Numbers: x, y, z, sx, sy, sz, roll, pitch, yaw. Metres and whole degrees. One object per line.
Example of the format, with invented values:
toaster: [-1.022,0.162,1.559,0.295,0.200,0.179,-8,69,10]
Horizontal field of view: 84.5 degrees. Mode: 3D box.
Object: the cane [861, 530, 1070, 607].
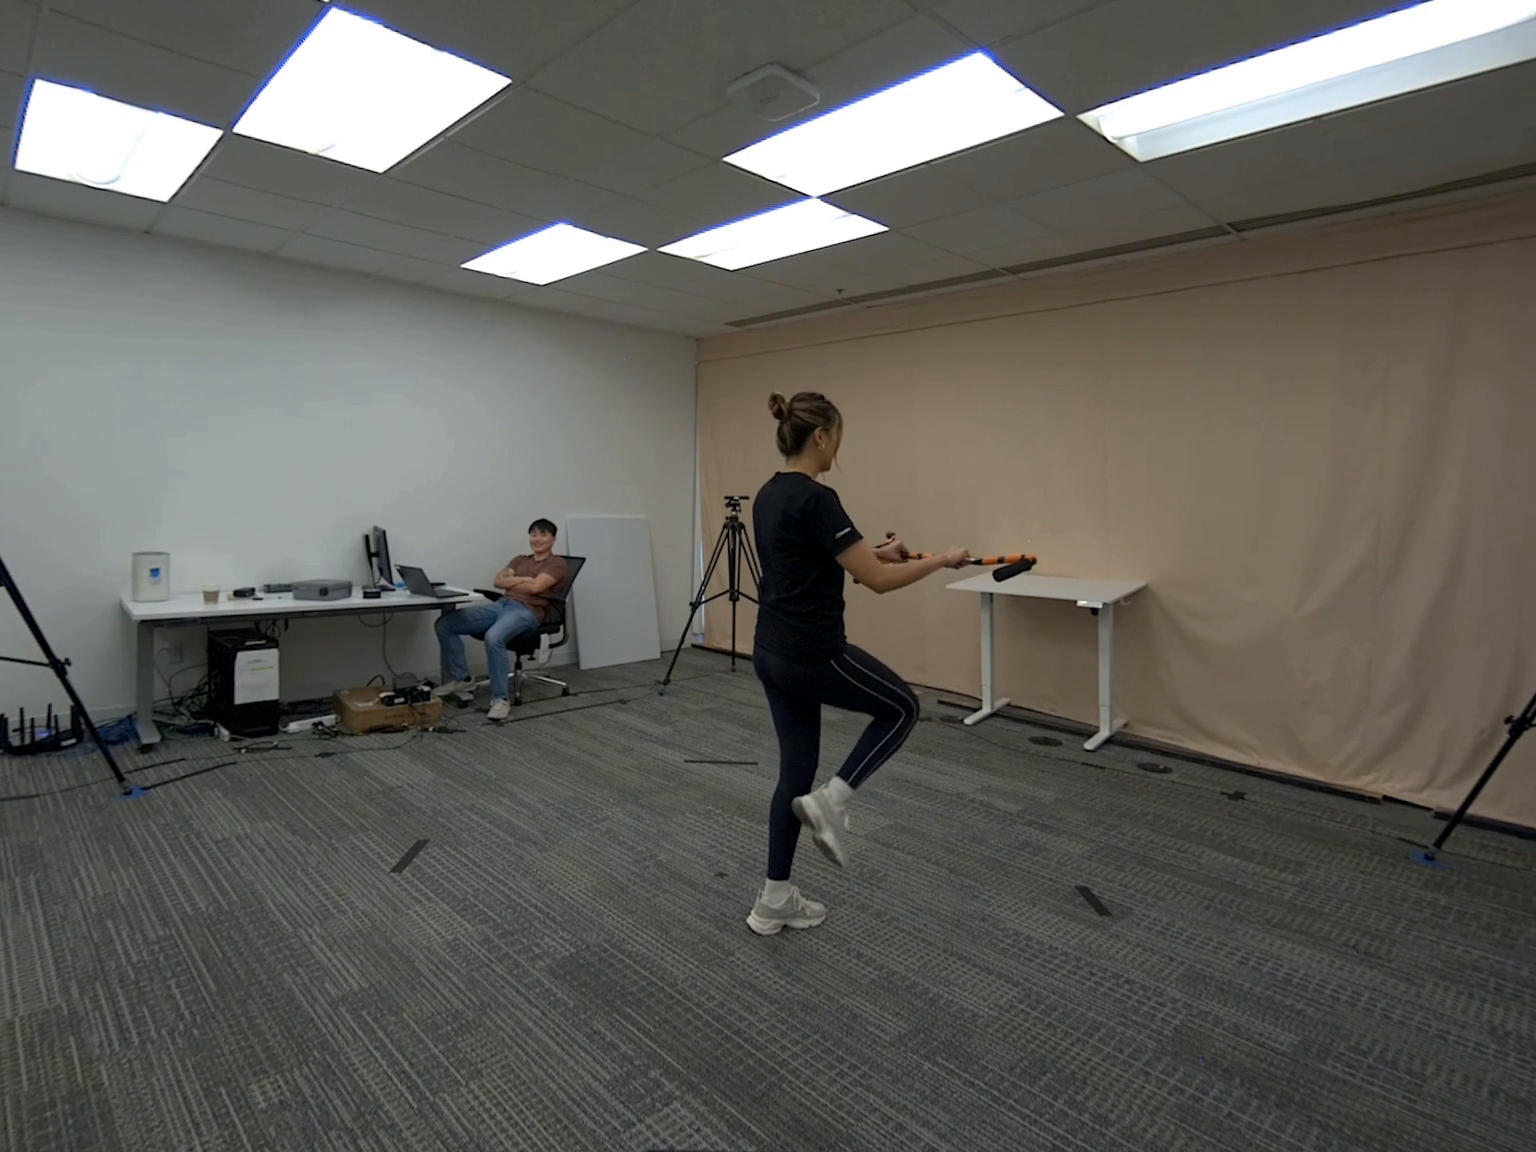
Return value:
cane: [0.567,-0.043,2.719,0.205,0.151,0.921,-17,8,-17]
